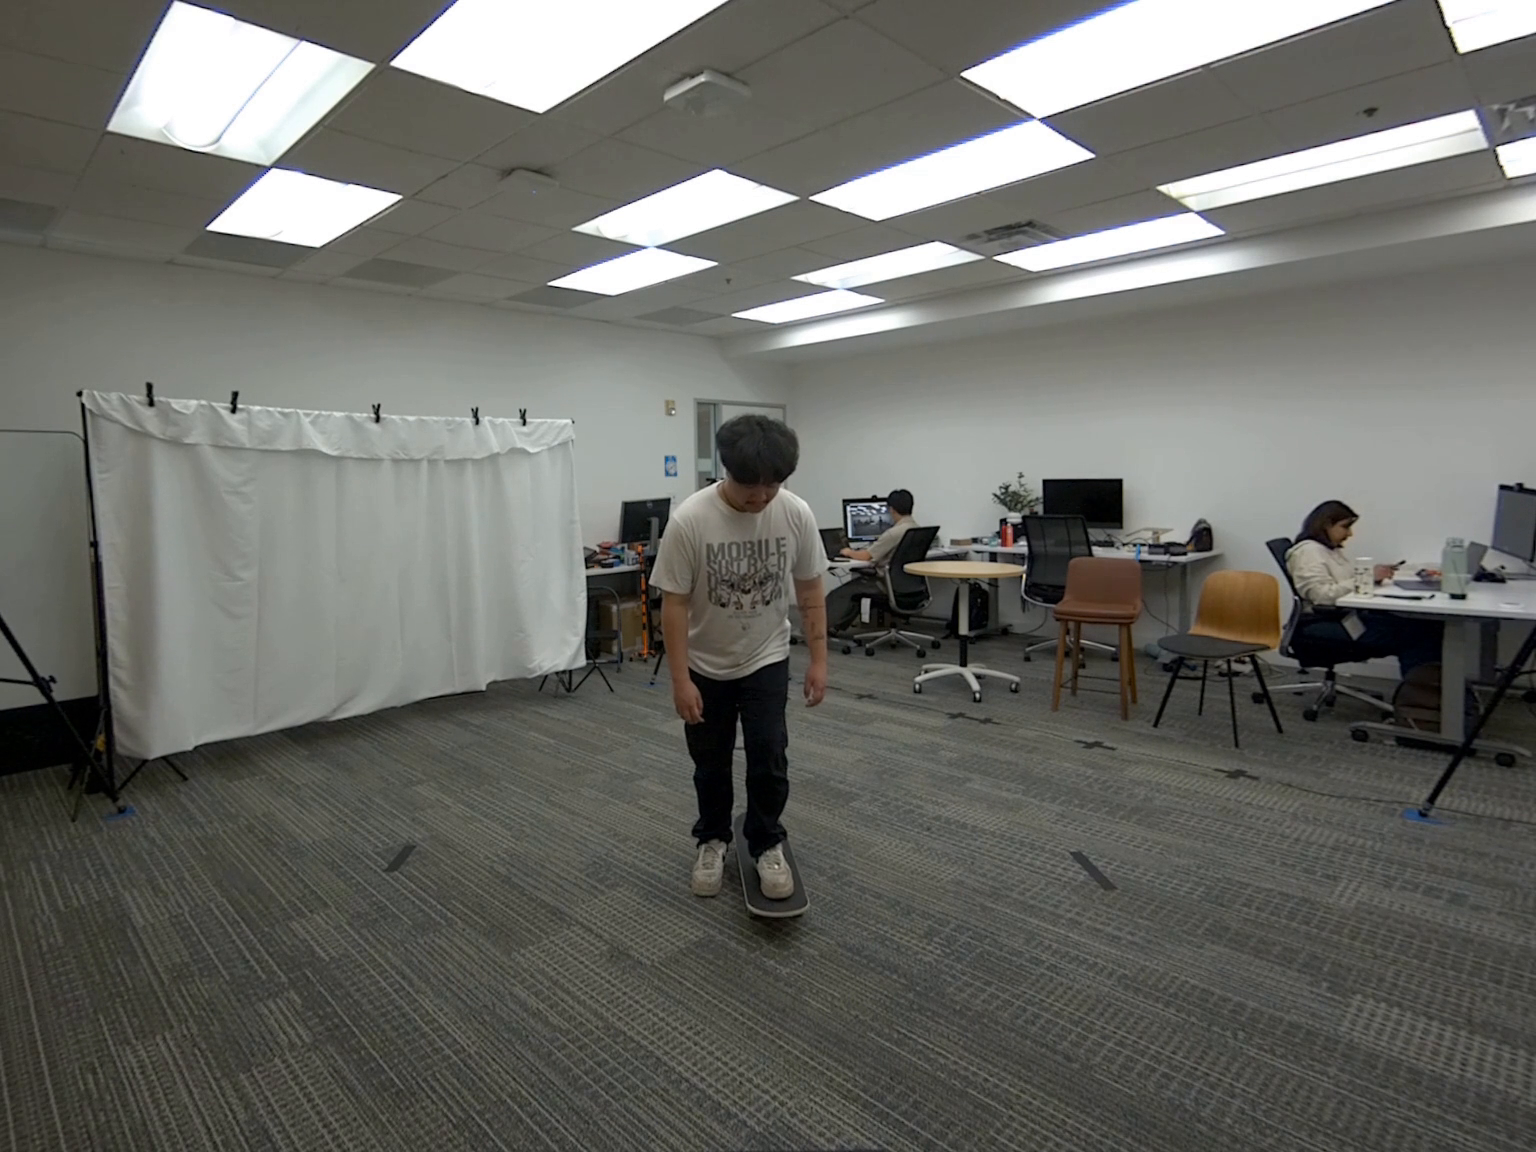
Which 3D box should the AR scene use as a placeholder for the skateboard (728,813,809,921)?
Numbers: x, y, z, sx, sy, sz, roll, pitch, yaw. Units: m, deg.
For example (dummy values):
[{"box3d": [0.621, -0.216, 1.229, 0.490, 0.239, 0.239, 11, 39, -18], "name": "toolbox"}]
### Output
[{"box3d": [-0.004, 1.000, 2.942, 0.192, 0.110, 0.792, -2, 6, -6], "name": "skateboard"}]
